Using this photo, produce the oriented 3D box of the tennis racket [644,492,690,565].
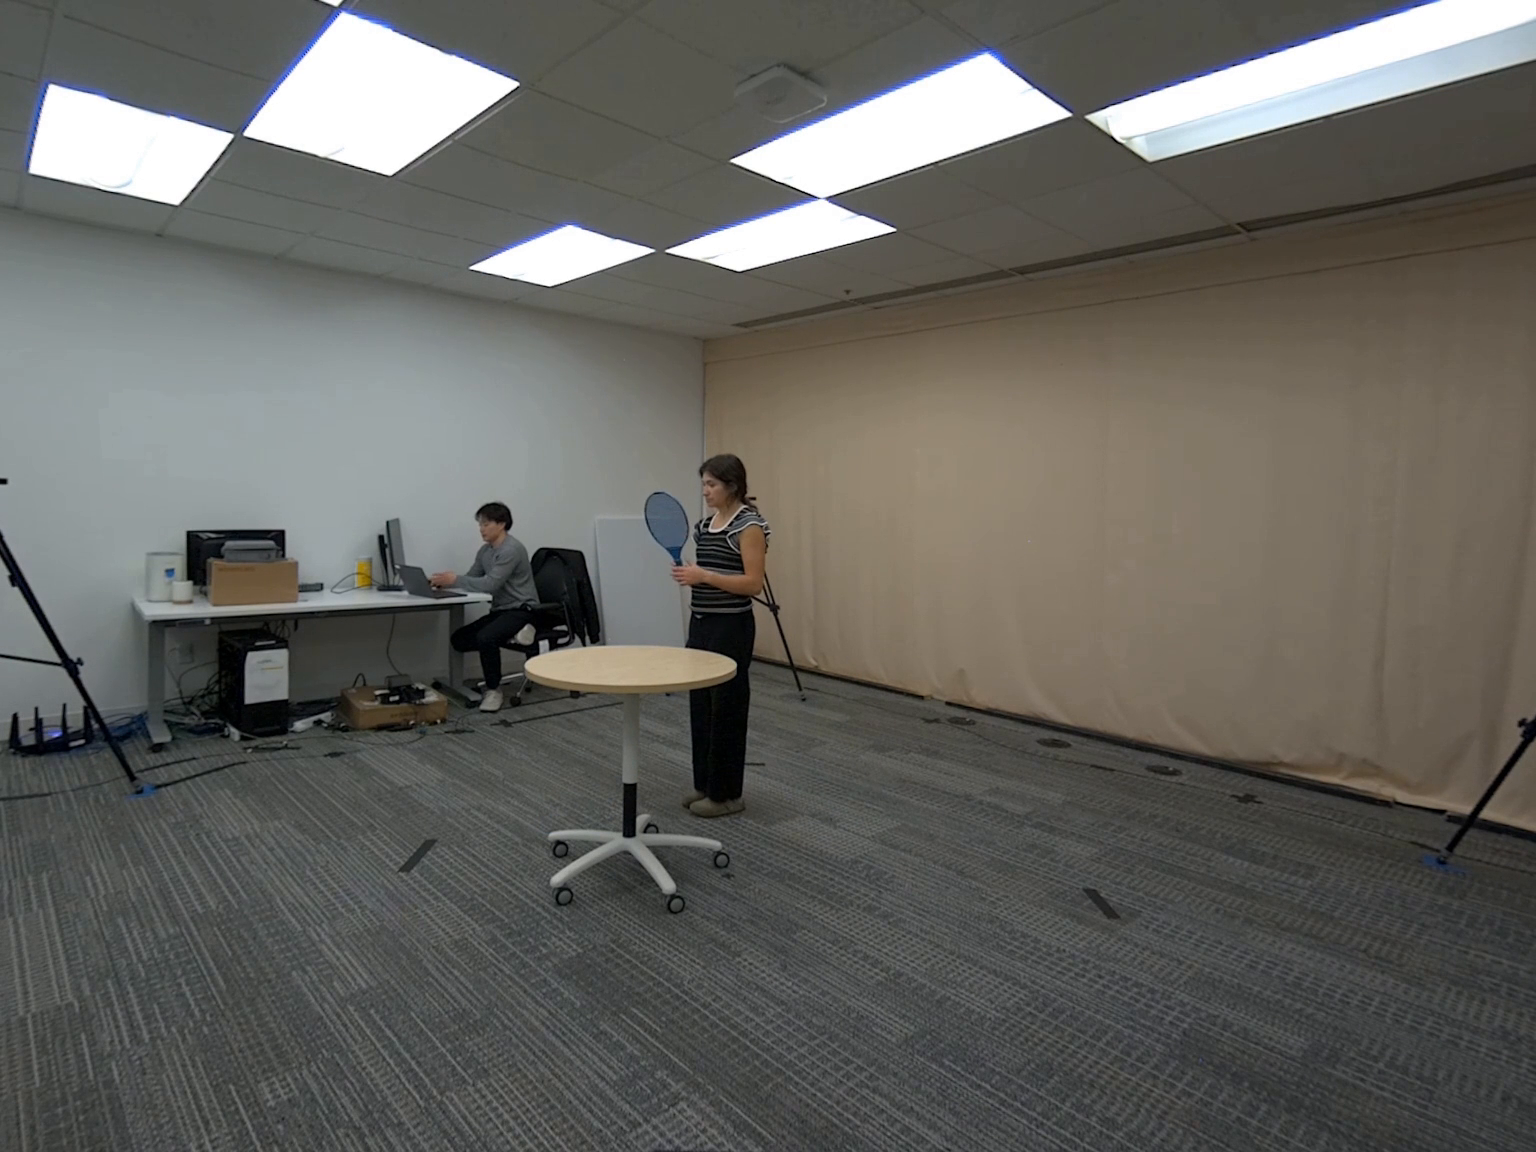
[{"bbox_3d":[-0.412,-0.160,3.625,0.217,0.426,0.032,-7,20,31],"label":"tennis racket"}]
